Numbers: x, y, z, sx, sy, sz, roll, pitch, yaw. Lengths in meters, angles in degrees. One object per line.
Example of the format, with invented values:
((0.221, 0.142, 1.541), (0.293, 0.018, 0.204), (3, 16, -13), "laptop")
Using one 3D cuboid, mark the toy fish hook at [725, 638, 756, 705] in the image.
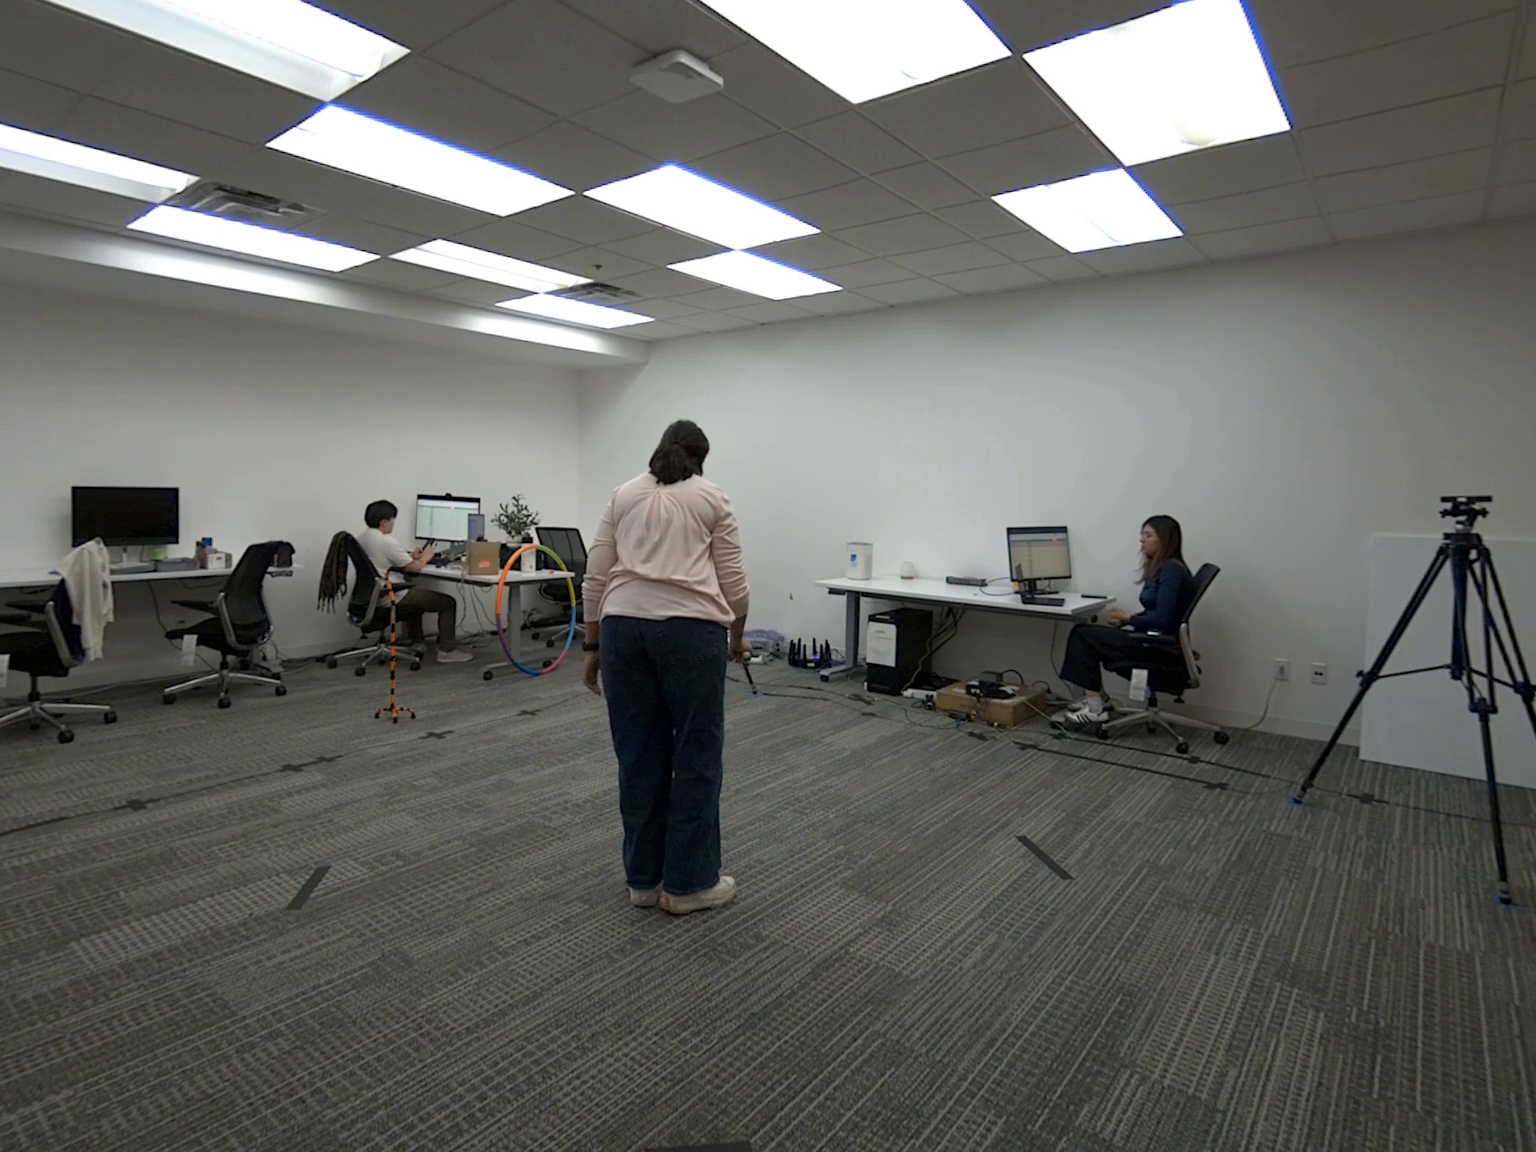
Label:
((-0.168, 0.312, 3.278), (0.047, 0.222, 0.519), (-8, 10, -18), "toy fish hook")
